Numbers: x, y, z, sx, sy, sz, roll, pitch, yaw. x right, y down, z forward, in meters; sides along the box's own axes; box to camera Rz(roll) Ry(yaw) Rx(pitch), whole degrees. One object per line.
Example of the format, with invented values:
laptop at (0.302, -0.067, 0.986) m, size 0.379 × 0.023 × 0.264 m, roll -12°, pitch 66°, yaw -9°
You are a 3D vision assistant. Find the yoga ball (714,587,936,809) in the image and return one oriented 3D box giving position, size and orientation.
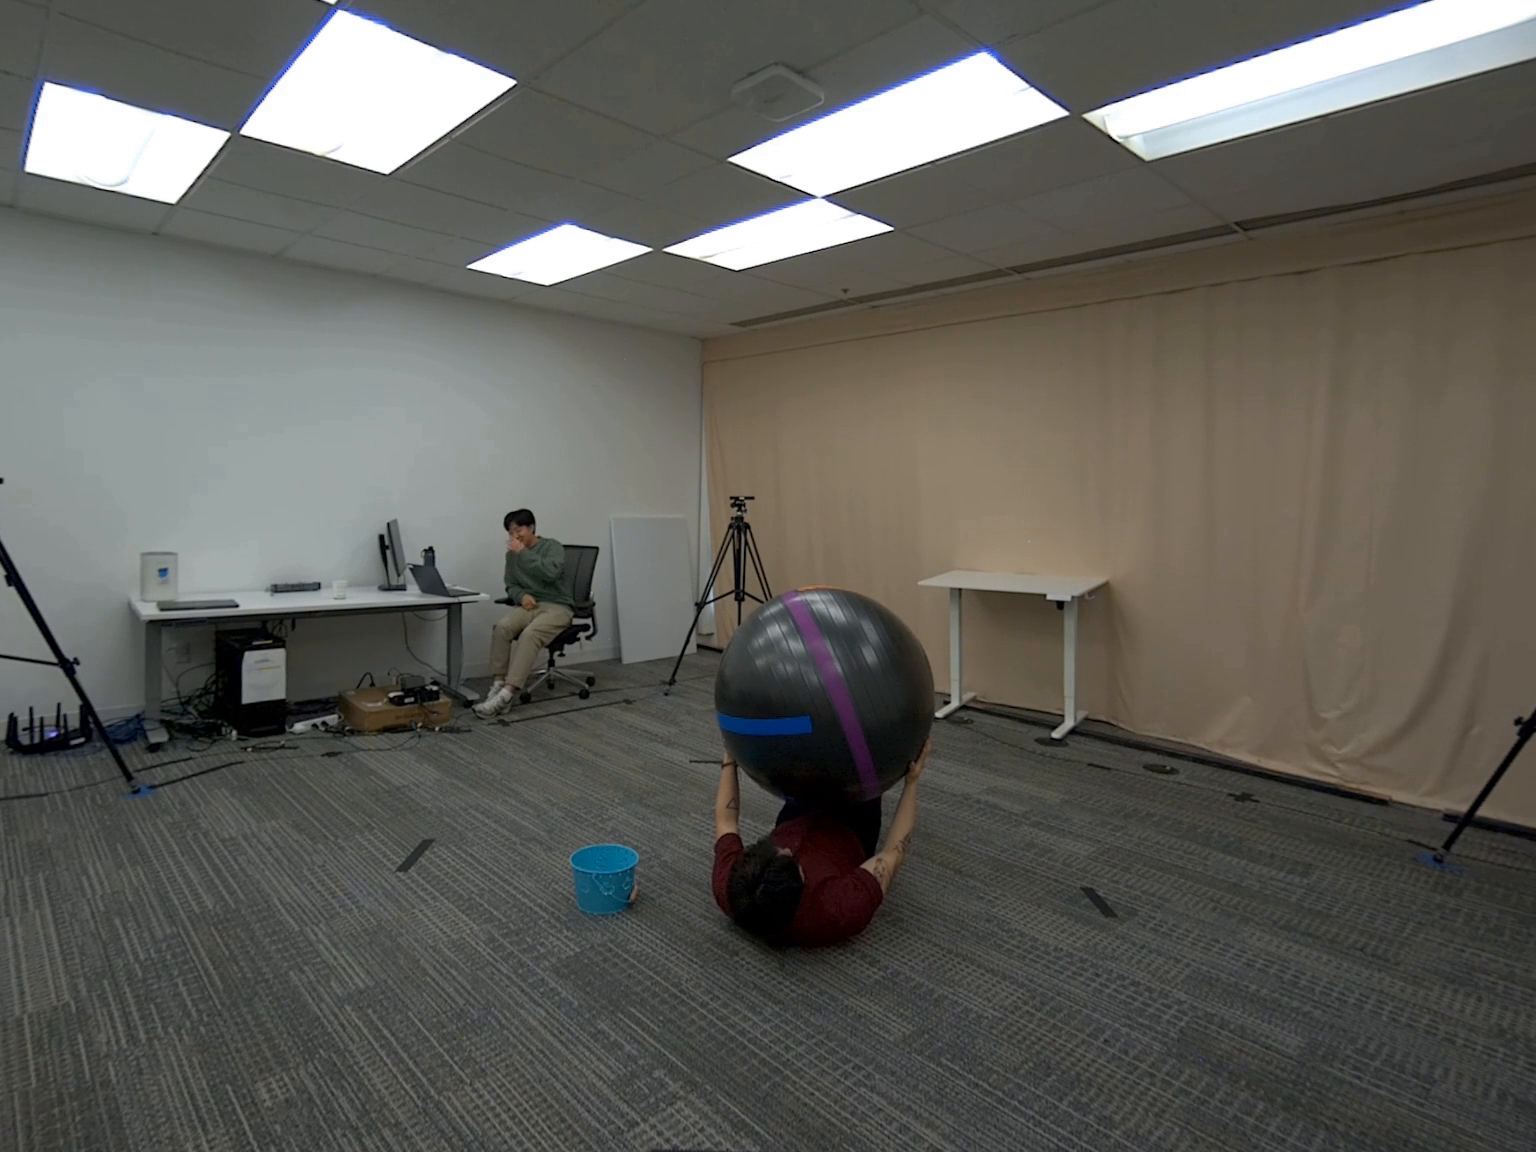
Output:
yoga ball at (0.192, 0.421, 2.948) m, size 0.757 × 0.756 × 0.761 m, roll 1°, pitch 4°, yaw -1°
